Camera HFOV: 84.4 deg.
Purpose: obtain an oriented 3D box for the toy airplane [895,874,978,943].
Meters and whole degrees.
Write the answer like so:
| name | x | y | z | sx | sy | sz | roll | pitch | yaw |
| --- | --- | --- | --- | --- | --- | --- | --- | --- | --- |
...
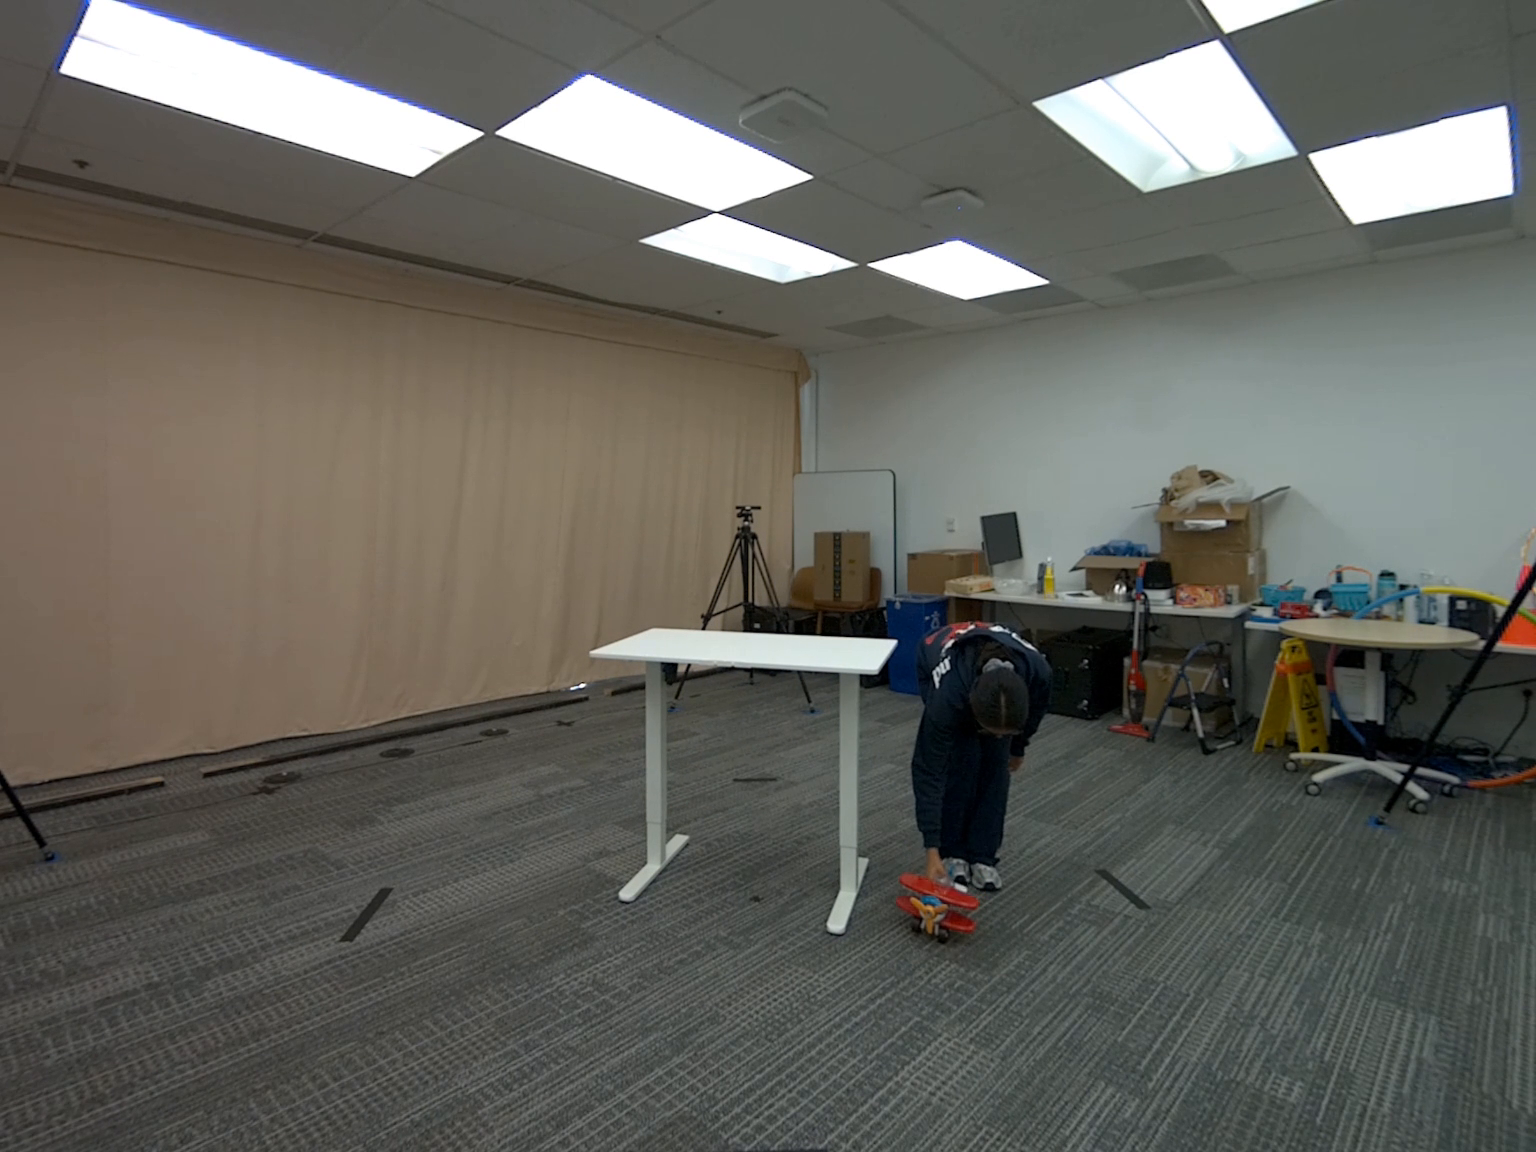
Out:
| name | x | y | z | sx | sy | sz | roll | pitch | yaw |
| --- | --- | --- | --- | --- | --- | --- | --- | --- | --- |
| toy airplane | 0.572 | 1.055 | 2.761 | 0.252 | 0.154 | 0.261 | -1 | 21 | 2 |
